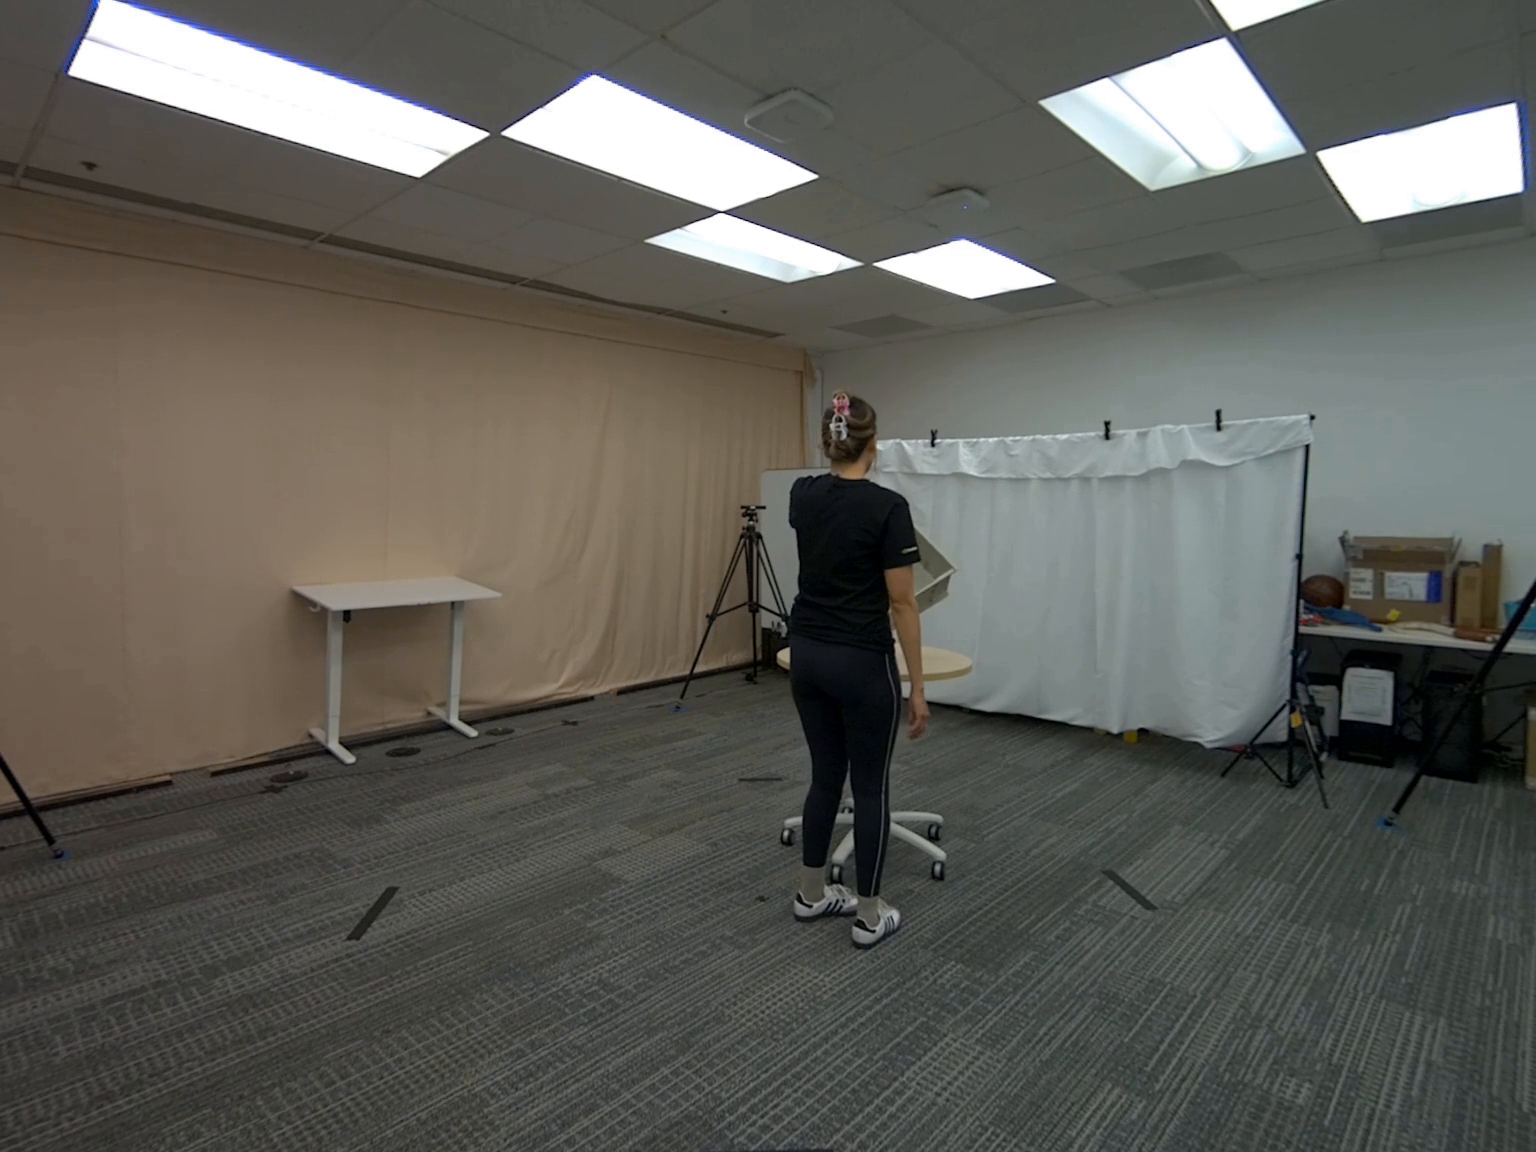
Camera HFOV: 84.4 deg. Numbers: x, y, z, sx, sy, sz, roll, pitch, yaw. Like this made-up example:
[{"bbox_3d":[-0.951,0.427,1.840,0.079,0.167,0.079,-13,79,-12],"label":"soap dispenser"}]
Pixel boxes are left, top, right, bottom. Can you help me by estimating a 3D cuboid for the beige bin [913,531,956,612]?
[{"bbox_3d":[0.447,-0.035,3.242,0.374,0.185,0.436,-30,56,-15],"label":"beige bin"}]
